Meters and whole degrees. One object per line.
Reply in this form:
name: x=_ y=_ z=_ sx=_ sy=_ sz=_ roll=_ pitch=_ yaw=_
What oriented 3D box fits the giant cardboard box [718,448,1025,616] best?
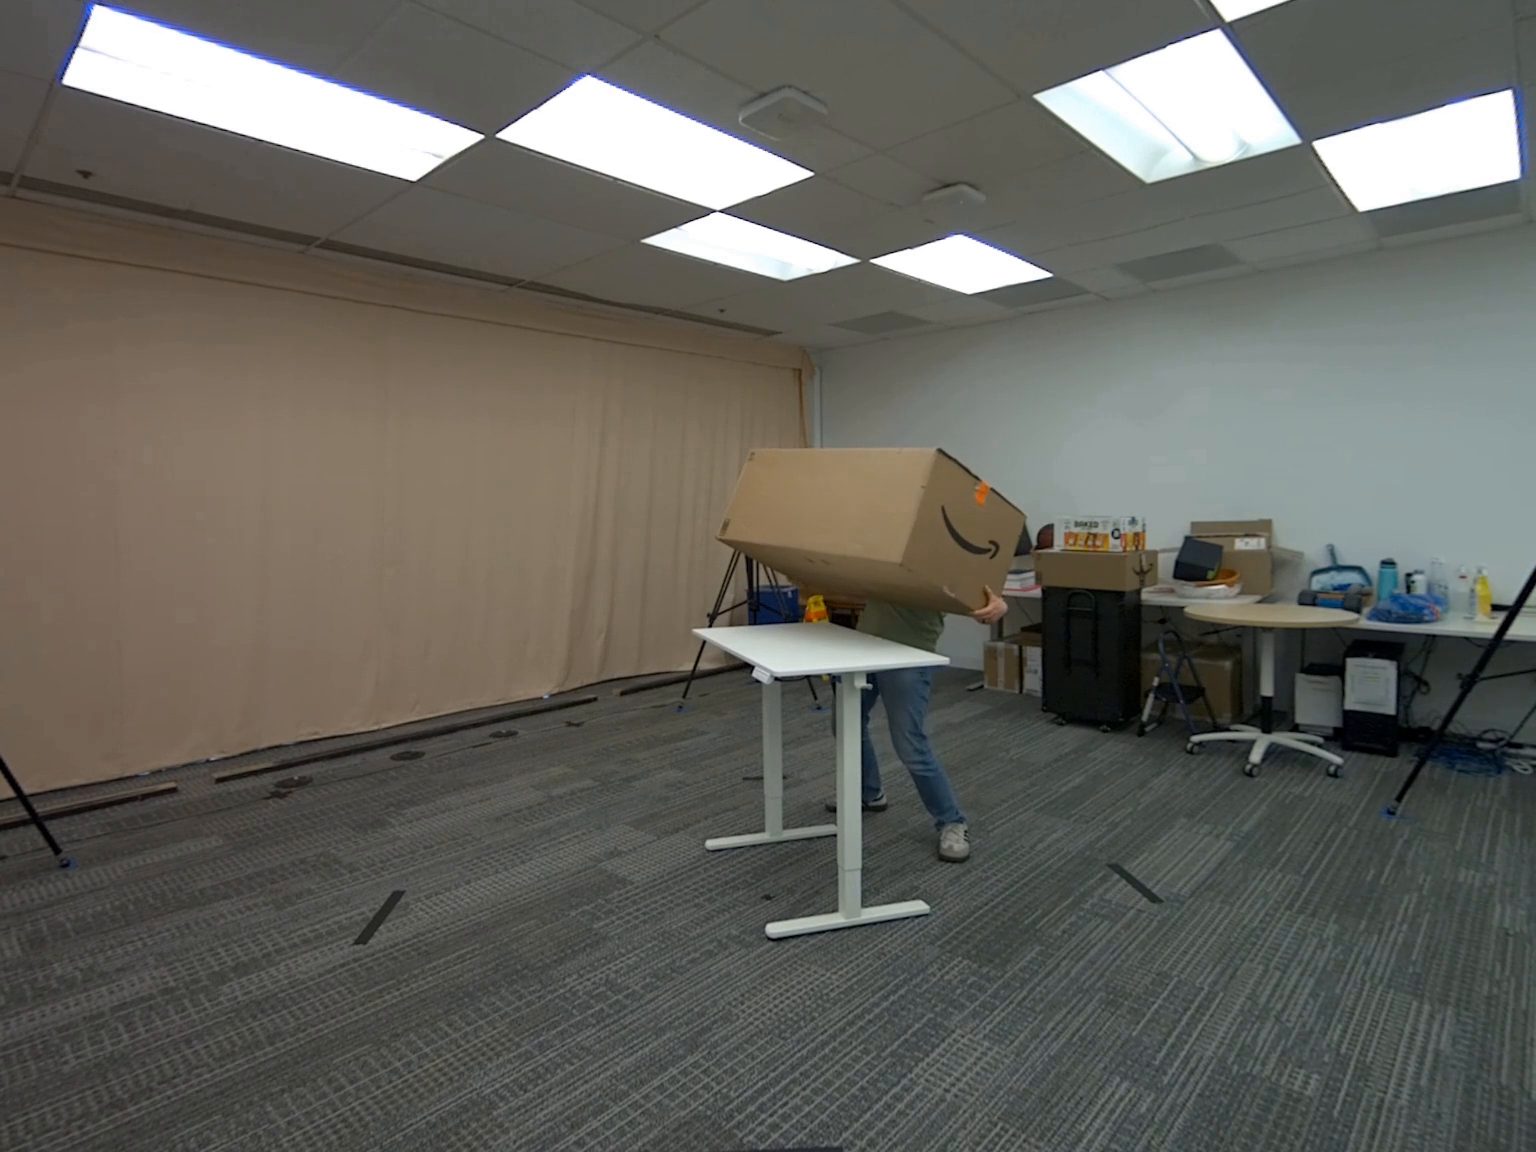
giant cardboard box: x=0.376 y=-0.195 z=3.340 sx=0.557 sy=0.427 sz=1.060 roll=28 pitch=-12 yaw=-37
